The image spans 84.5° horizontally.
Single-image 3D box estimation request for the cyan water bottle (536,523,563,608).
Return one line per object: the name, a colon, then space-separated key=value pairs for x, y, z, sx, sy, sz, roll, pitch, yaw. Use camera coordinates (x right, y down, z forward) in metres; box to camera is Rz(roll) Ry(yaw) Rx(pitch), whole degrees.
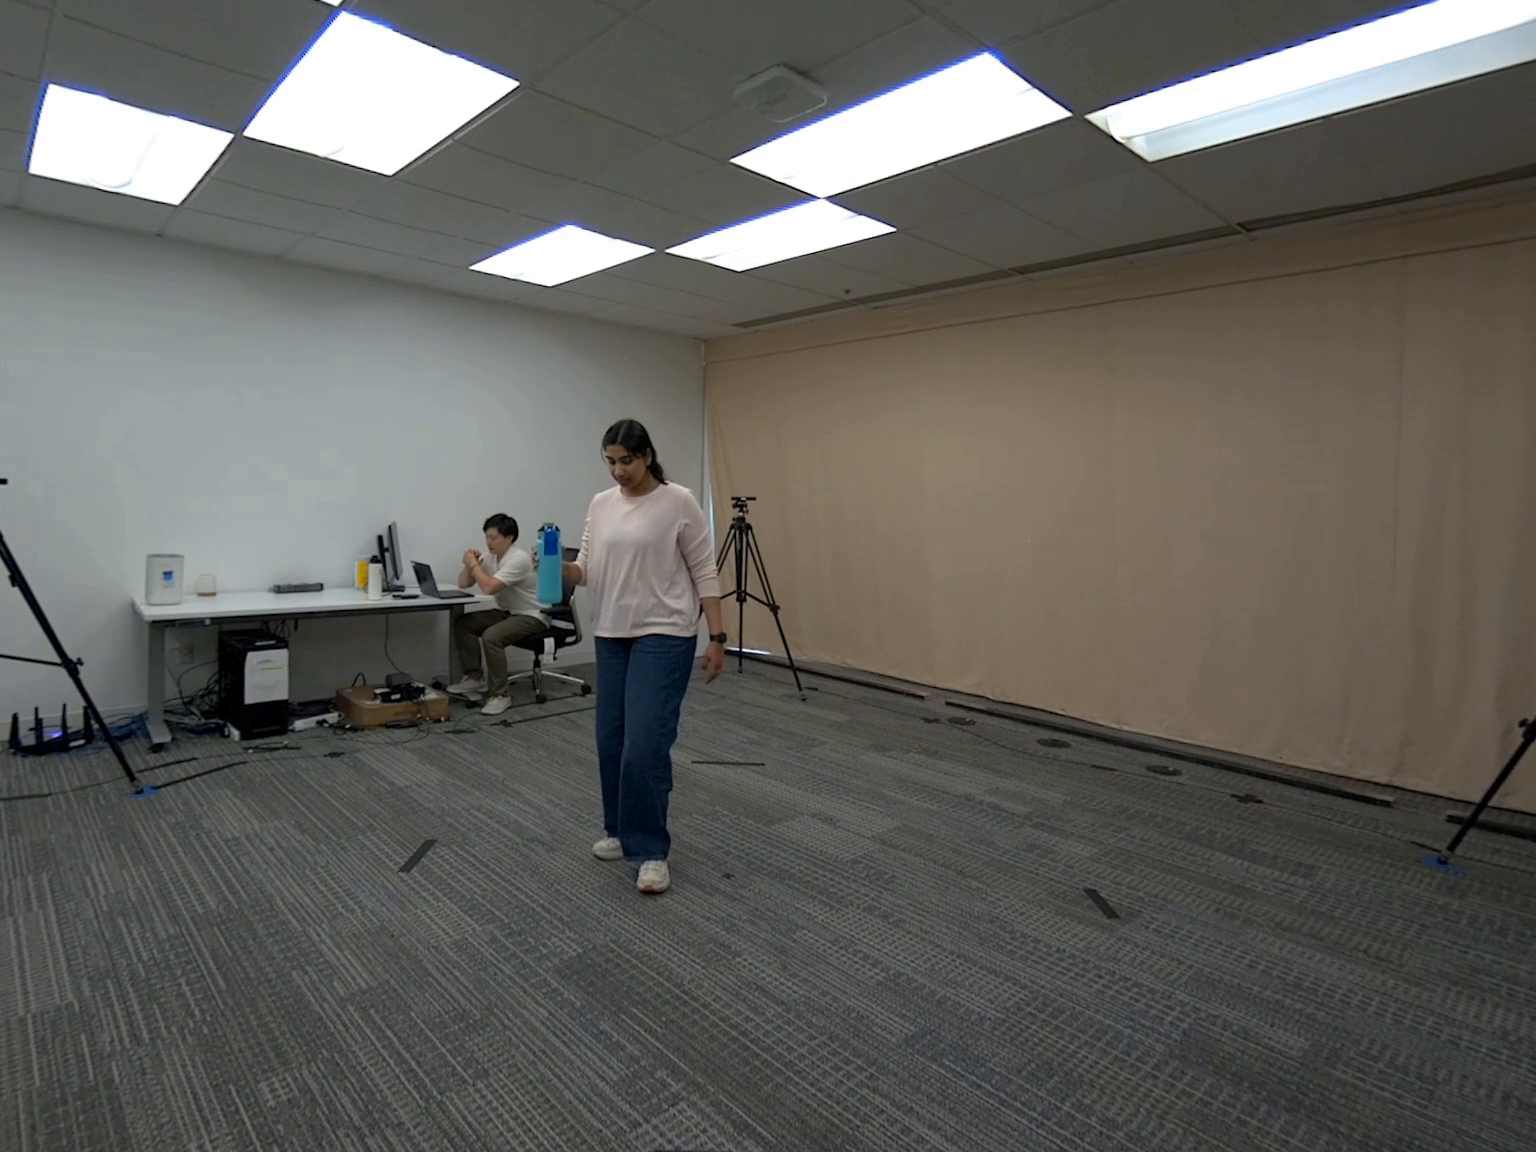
cyan water bottle: x=-0.787 y=-0.052 z=2.978 sx=0.092 sy=0.281 sz=0.093 roll=4 pitch=12 yaw=-2
